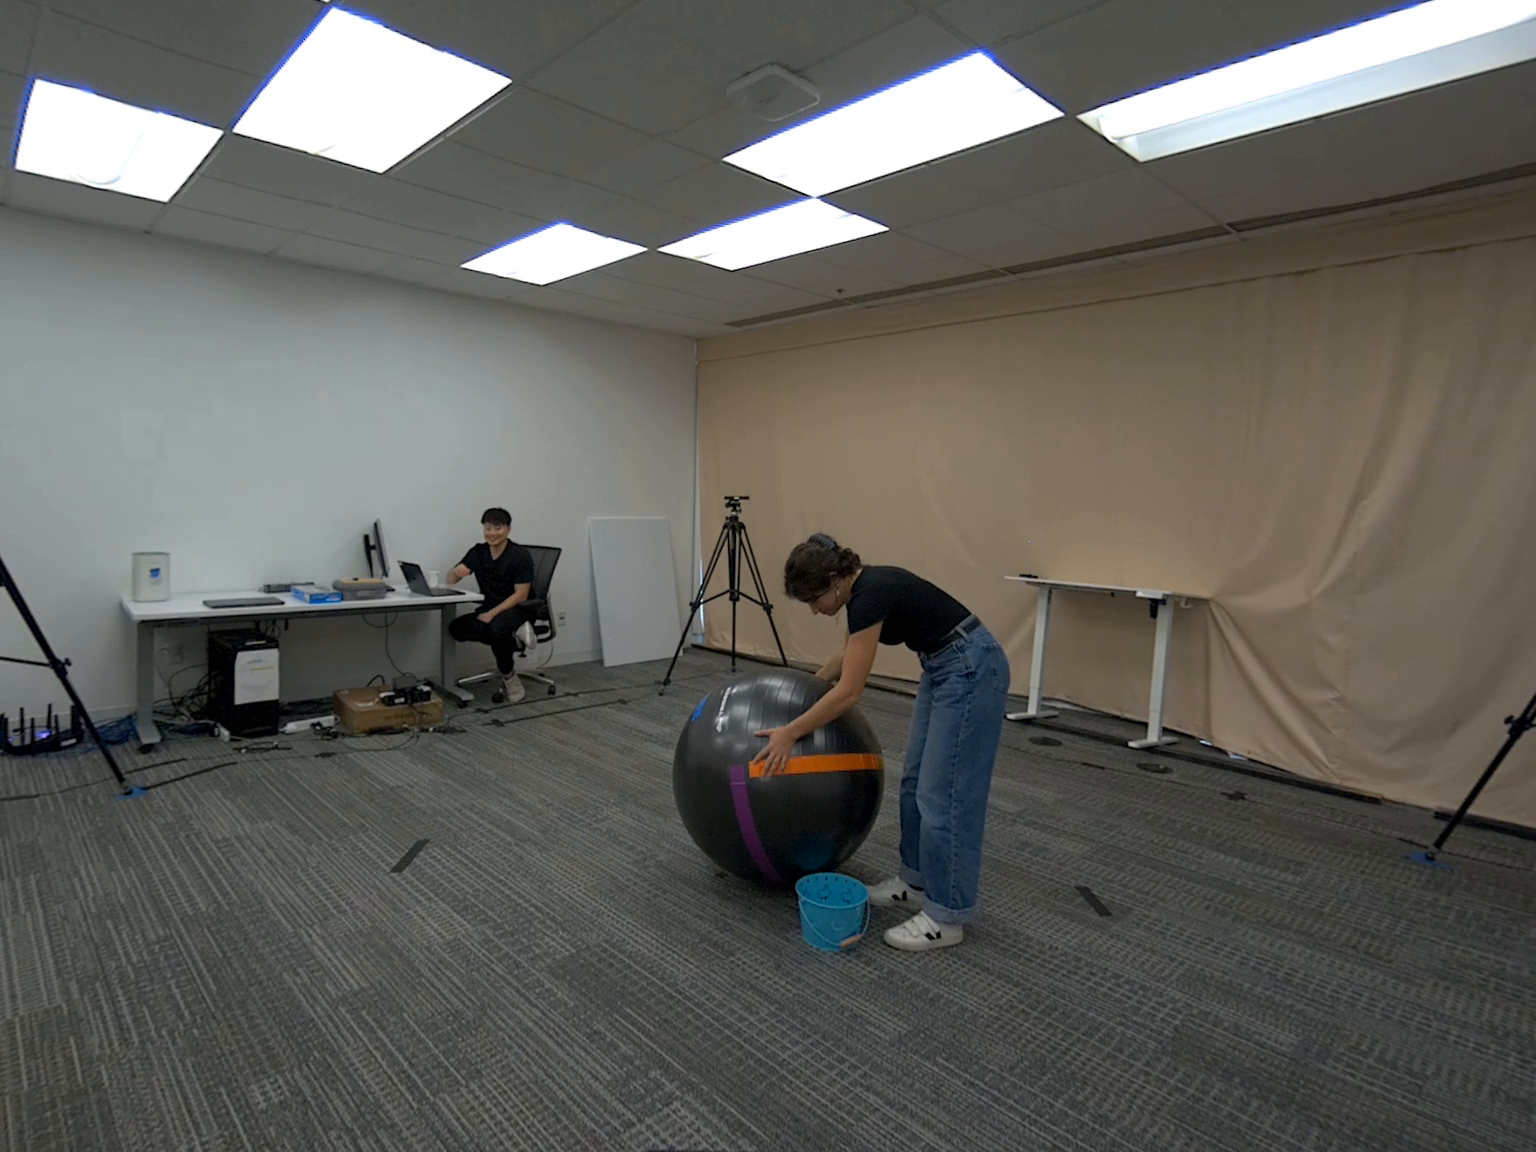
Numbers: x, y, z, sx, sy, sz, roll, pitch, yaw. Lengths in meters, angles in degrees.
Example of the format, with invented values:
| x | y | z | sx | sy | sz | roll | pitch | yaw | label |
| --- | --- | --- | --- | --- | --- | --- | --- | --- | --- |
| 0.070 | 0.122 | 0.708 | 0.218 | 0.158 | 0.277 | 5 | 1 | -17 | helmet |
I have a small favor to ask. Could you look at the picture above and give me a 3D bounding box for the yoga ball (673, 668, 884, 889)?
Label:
| x | y | z | sx | sy | sz | roll | pitch | yaw | label |
| --- | --- | --- | --- | --- | --- | --- | --- | --- | --- |
| 0.029 | 0.709 | 3.042 | 0.757 | 0.756 | 0.761 | 1 | 4 | -1 | yoga ball |
